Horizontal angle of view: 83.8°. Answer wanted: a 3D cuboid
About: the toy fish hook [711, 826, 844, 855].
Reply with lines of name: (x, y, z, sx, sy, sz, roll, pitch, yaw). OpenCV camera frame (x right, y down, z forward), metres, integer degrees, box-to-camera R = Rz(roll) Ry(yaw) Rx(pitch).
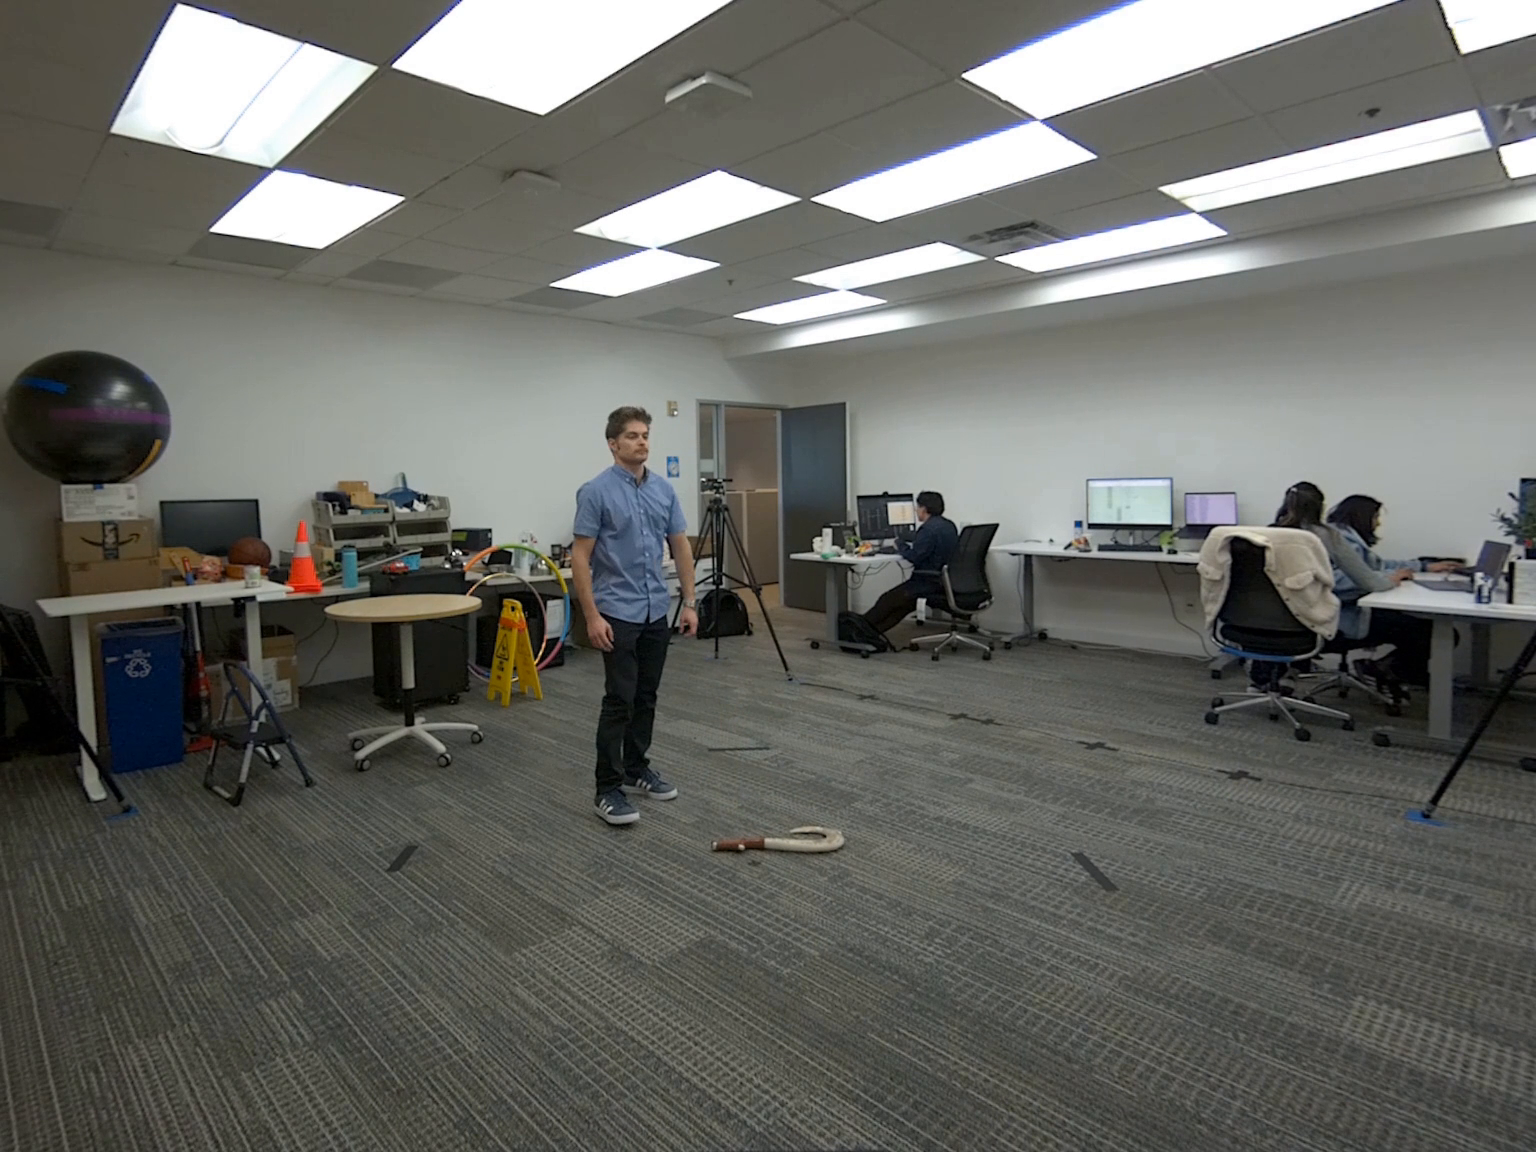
toy fish hook: (0.037, 1.008, 3.272, 0.506, 0.048, 0.224, 0, -2, -1)
